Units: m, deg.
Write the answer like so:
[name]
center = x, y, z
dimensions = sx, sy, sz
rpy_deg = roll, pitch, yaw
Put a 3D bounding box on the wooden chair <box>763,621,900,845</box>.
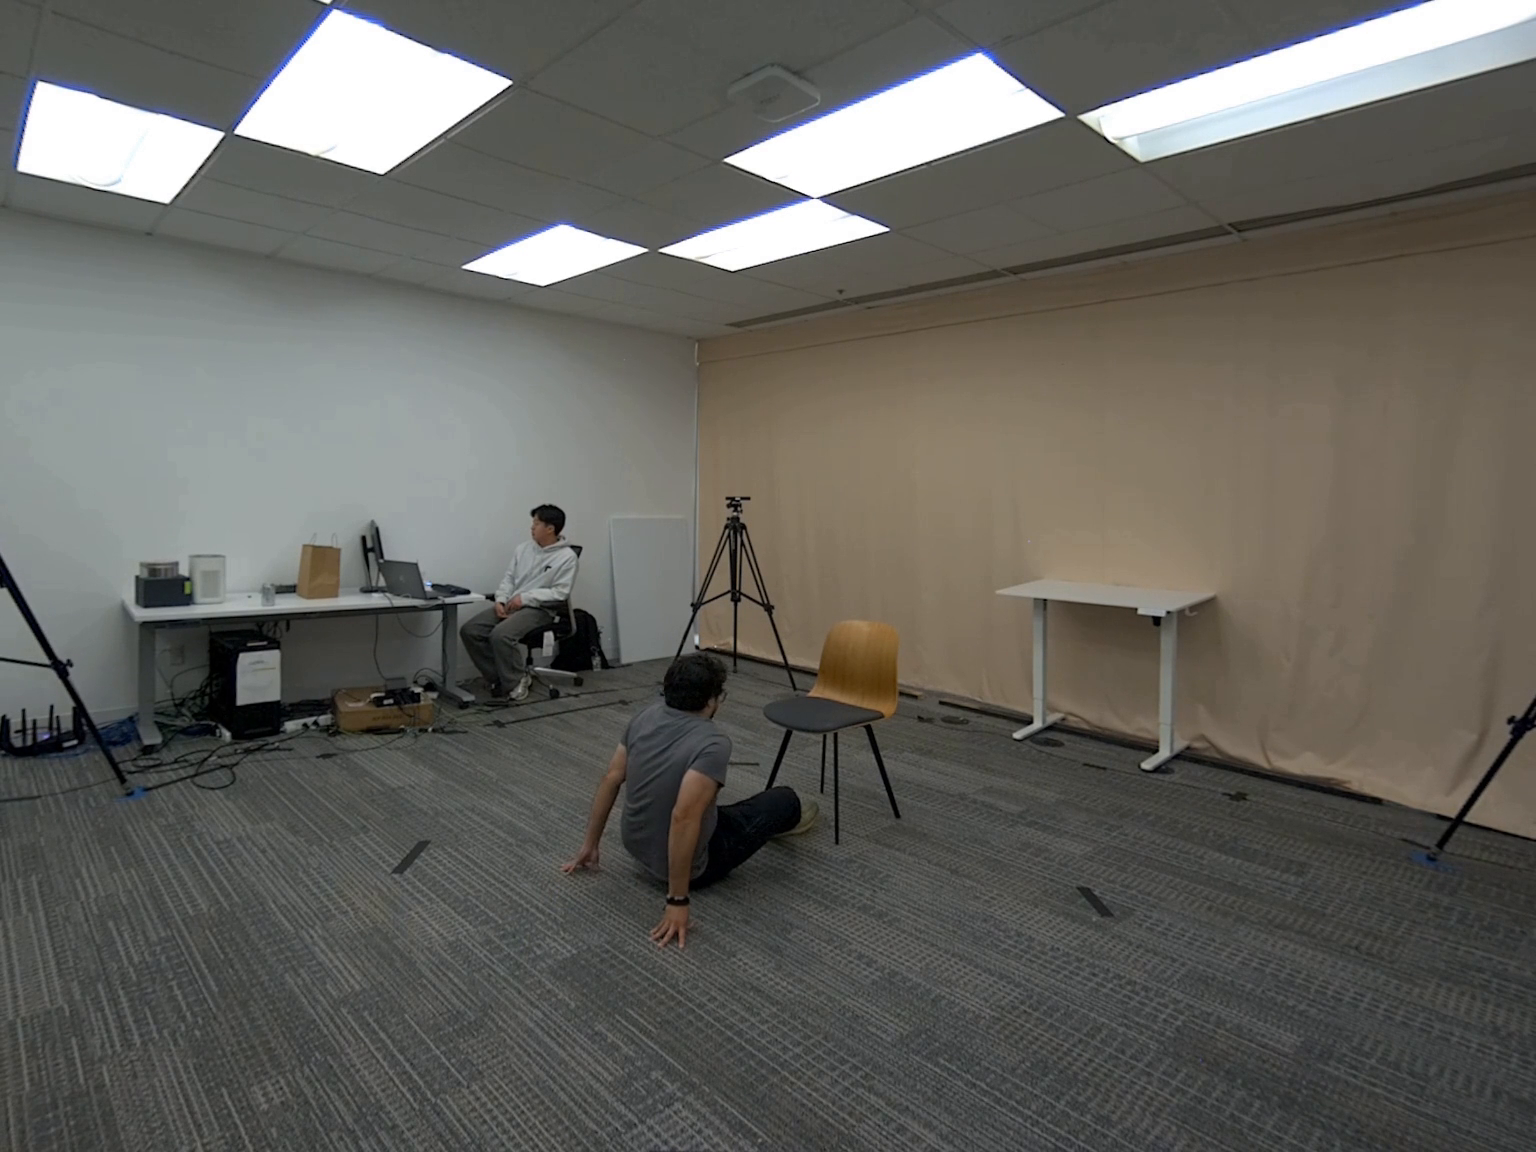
[wooden chair]
center = 0.268, 0.638, 3.692
dimensions = 0.490, 0.877, 0.510
rpy_deg = 4, 0, 44
